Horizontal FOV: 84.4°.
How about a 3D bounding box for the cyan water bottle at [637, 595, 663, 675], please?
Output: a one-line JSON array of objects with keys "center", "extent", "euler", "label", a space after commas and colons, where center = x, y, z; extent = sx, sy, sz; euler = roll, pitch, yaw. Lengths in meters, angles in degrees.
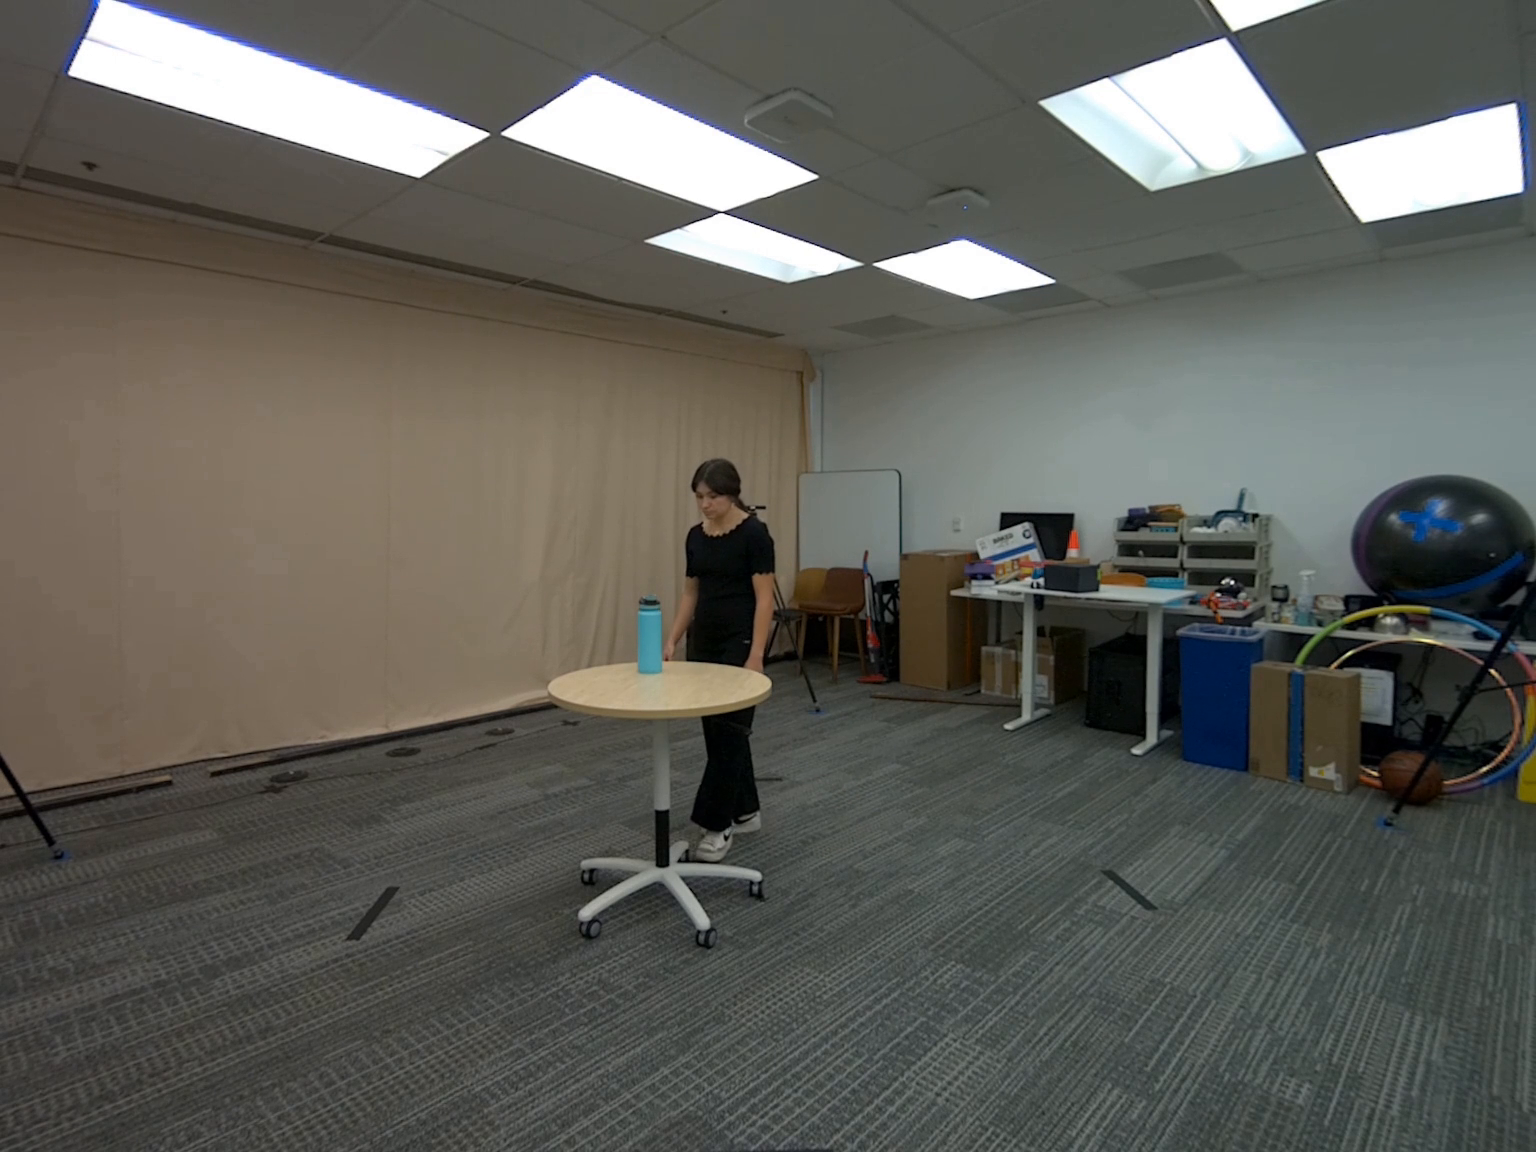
[{"center": [-0.431, 0.210, 3.091], "extent": [0.092, 0.283, 0.092], "euler": [2, 1, -2], "label": "cyan water bottle"}]
